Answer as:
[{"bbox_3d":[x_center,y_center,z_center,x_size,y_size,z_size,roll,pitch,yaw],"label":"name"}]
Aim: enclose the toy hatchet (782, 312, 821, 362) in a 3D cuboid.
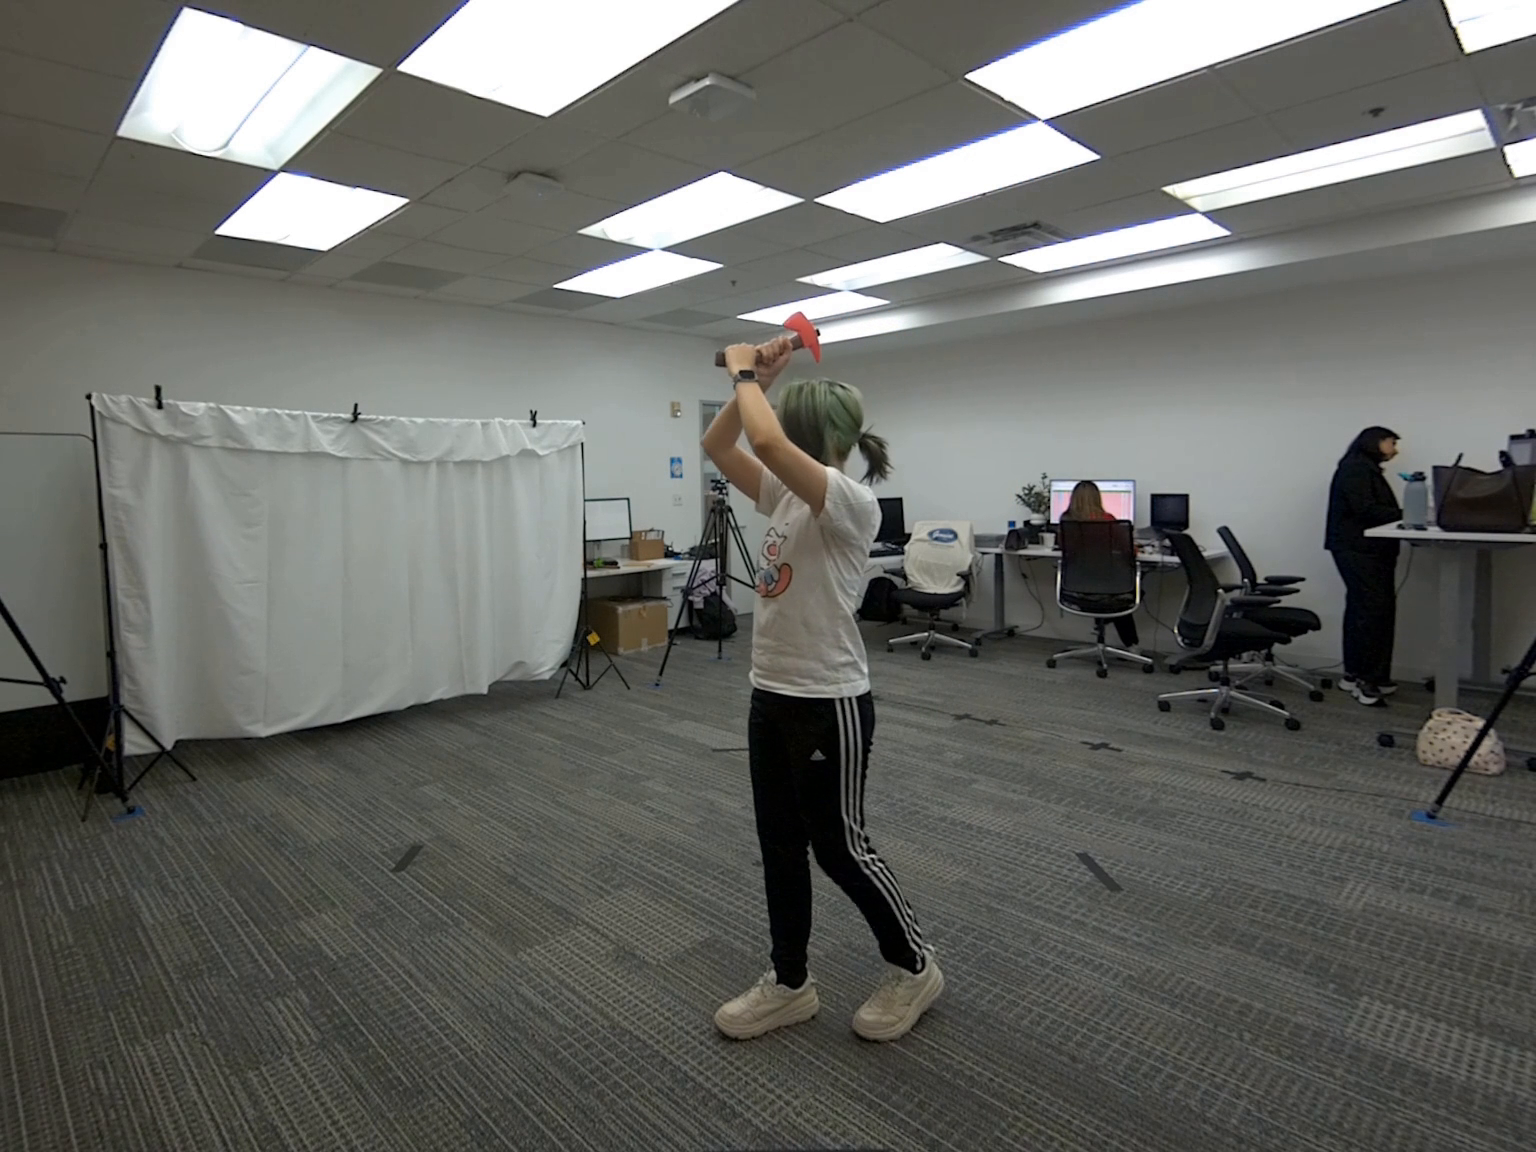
[{"bbox_3d":[0.001,-0.582,2.089,0.268,0.130,0.030,-5,5,-10],"label":"toy hatchet"}]
